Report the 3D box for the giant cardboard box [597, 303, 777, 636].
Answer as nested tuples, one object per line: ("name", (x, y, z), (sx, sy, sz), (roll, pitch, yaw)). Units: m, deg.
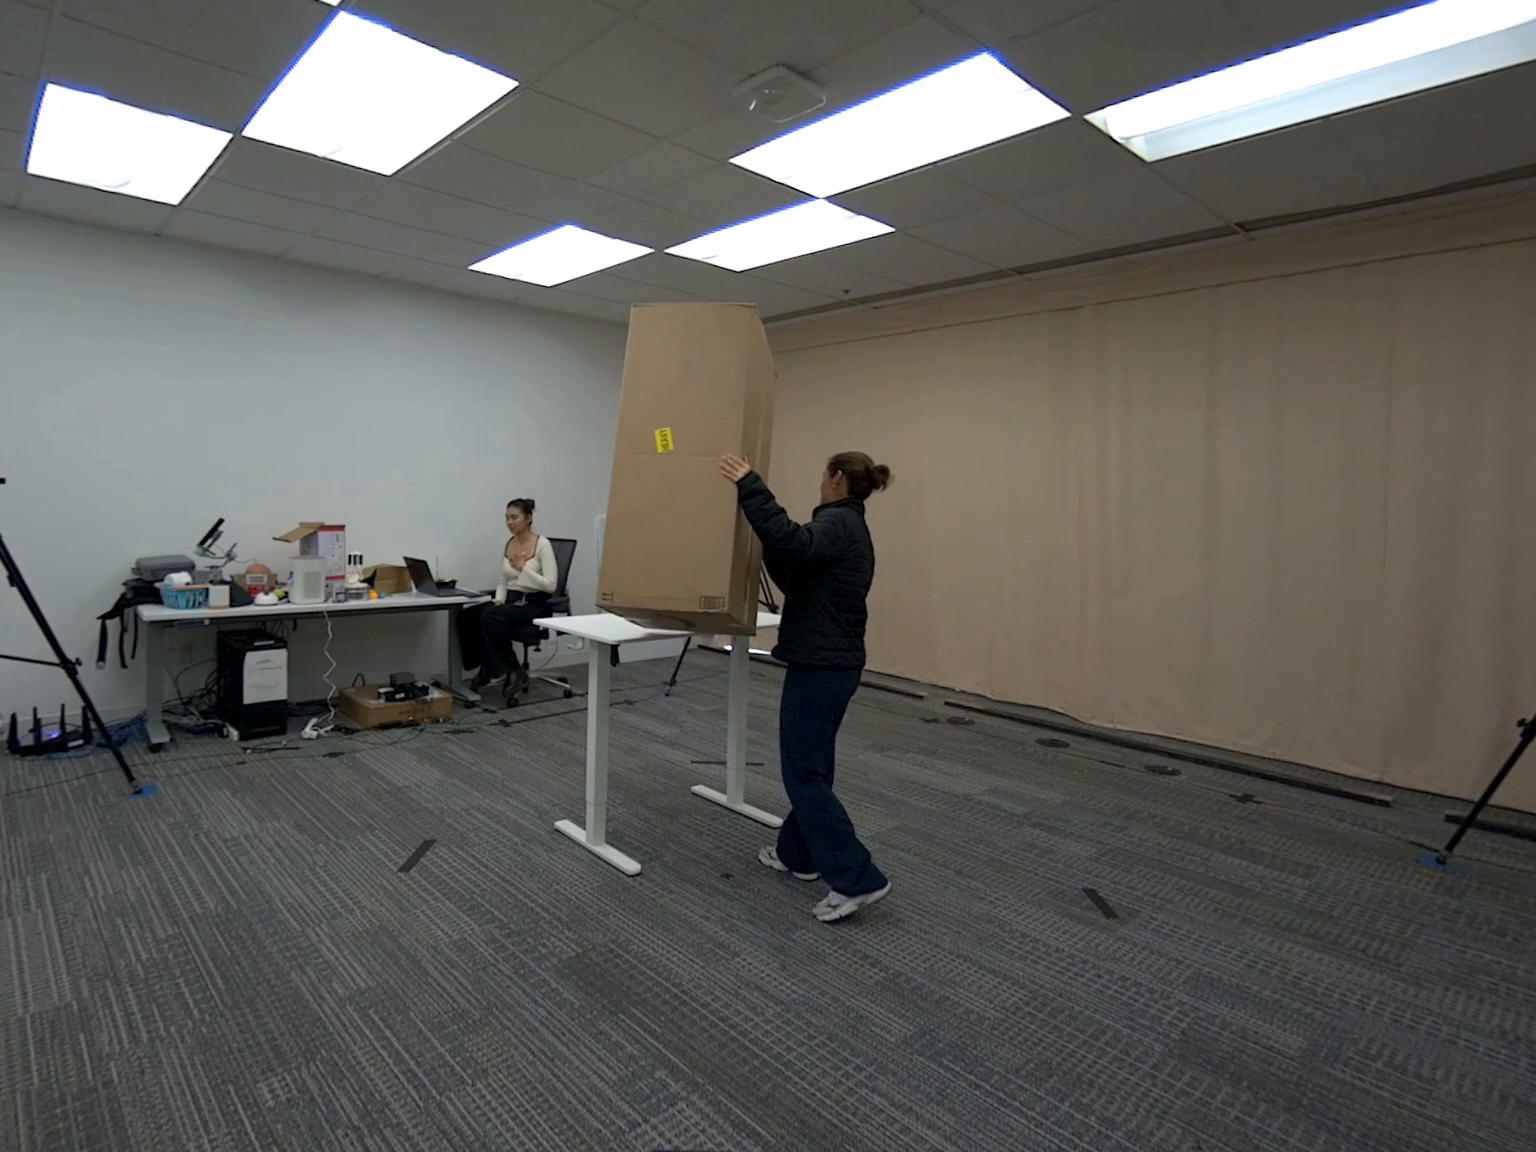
("giant cardboard box", (-0.253, -0.337, 2.925), (0.430, 1.034, 0.568), (2, -12, 10))
